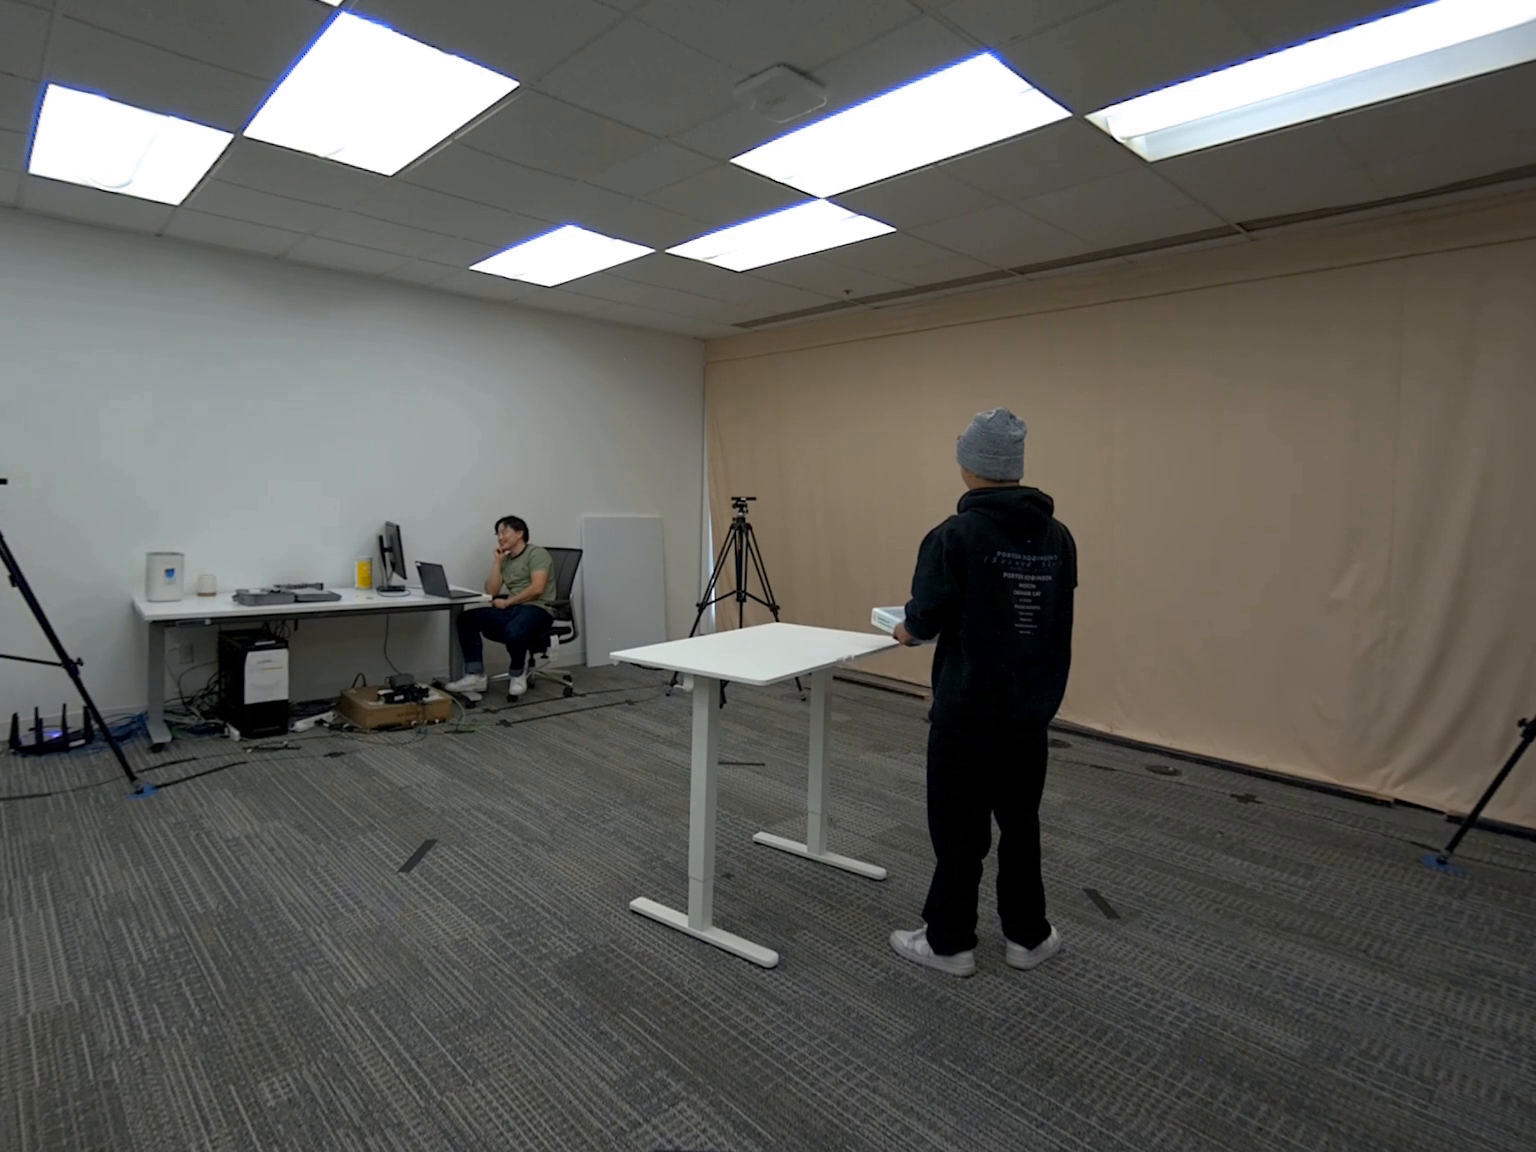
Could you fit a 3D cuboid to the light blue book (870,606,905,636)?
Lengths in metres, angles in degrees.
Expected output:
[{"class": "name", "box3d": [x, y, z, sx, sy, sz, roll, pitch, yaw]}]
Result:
[{"class": "light blue book", "box3d": [0.500, 0.171, 2.910, 0.189, 0.058, 0.266, -1, 12, -15]}]
